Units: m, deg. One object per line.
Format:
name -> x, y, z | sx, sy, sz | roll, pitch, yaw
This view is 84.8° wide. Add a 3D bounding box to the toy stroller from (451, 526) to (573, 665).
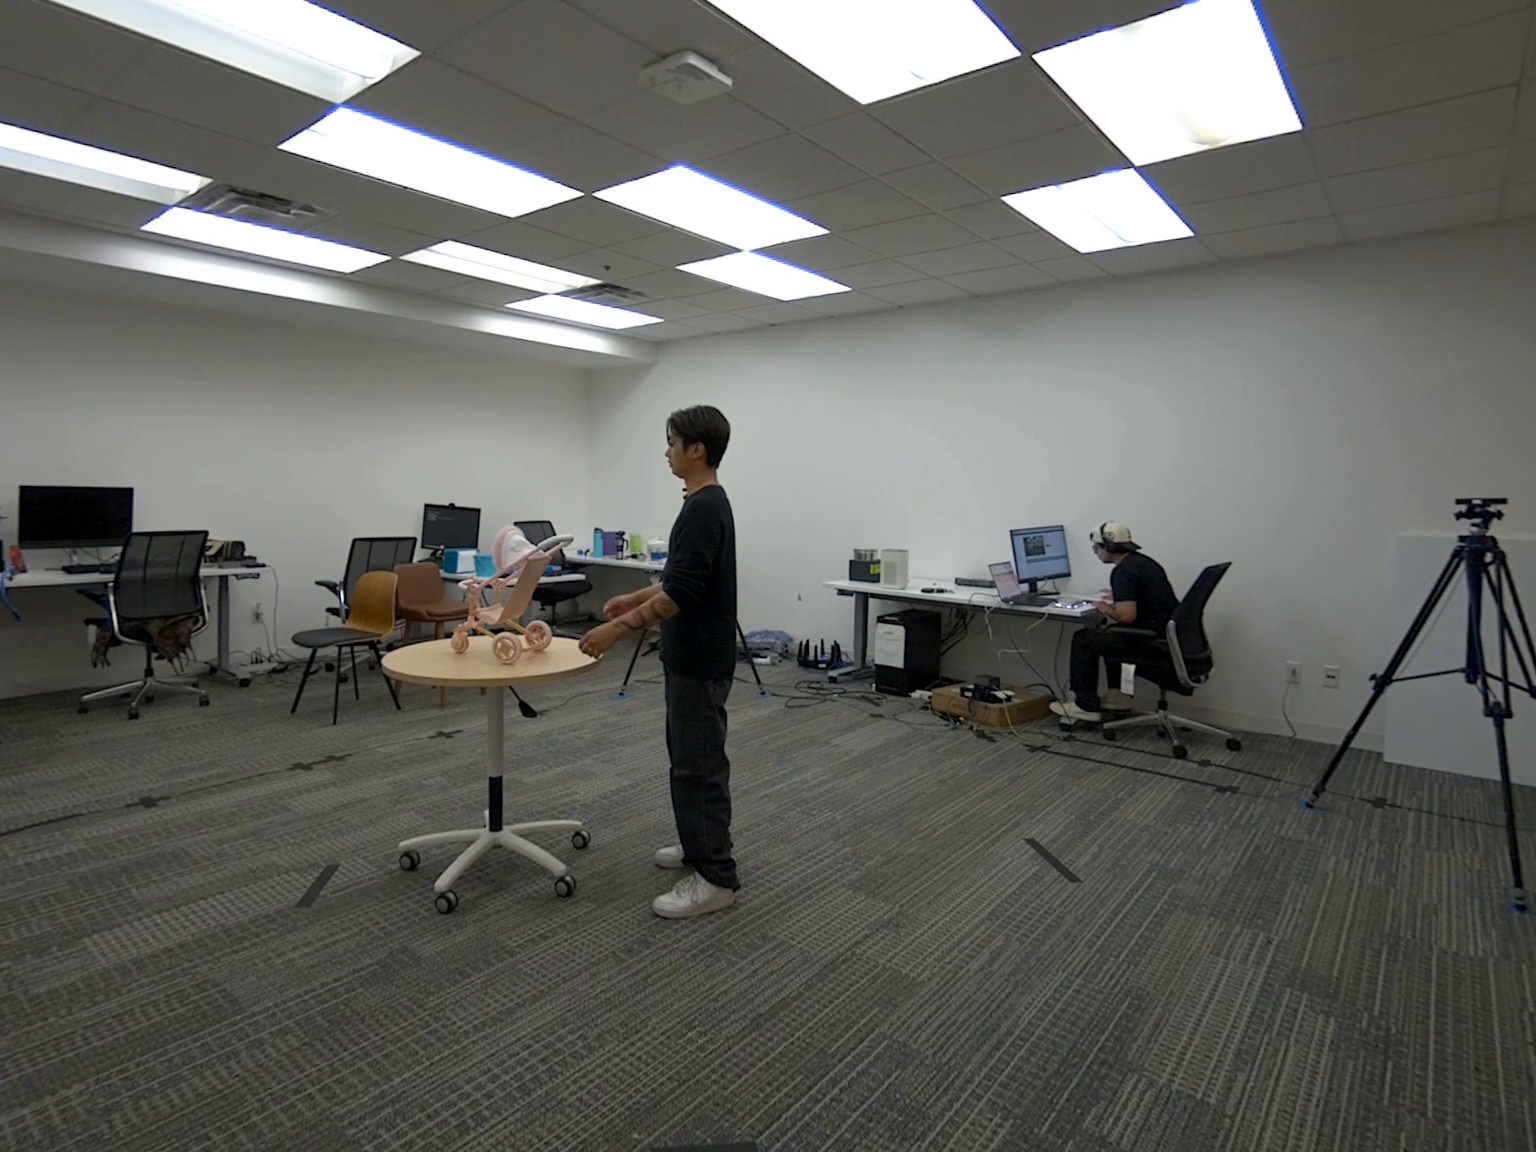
toy stroller -> -0.946, 0.062, 3.025 | 0.348, 0.532, 0.277 | 17, 8, 15
